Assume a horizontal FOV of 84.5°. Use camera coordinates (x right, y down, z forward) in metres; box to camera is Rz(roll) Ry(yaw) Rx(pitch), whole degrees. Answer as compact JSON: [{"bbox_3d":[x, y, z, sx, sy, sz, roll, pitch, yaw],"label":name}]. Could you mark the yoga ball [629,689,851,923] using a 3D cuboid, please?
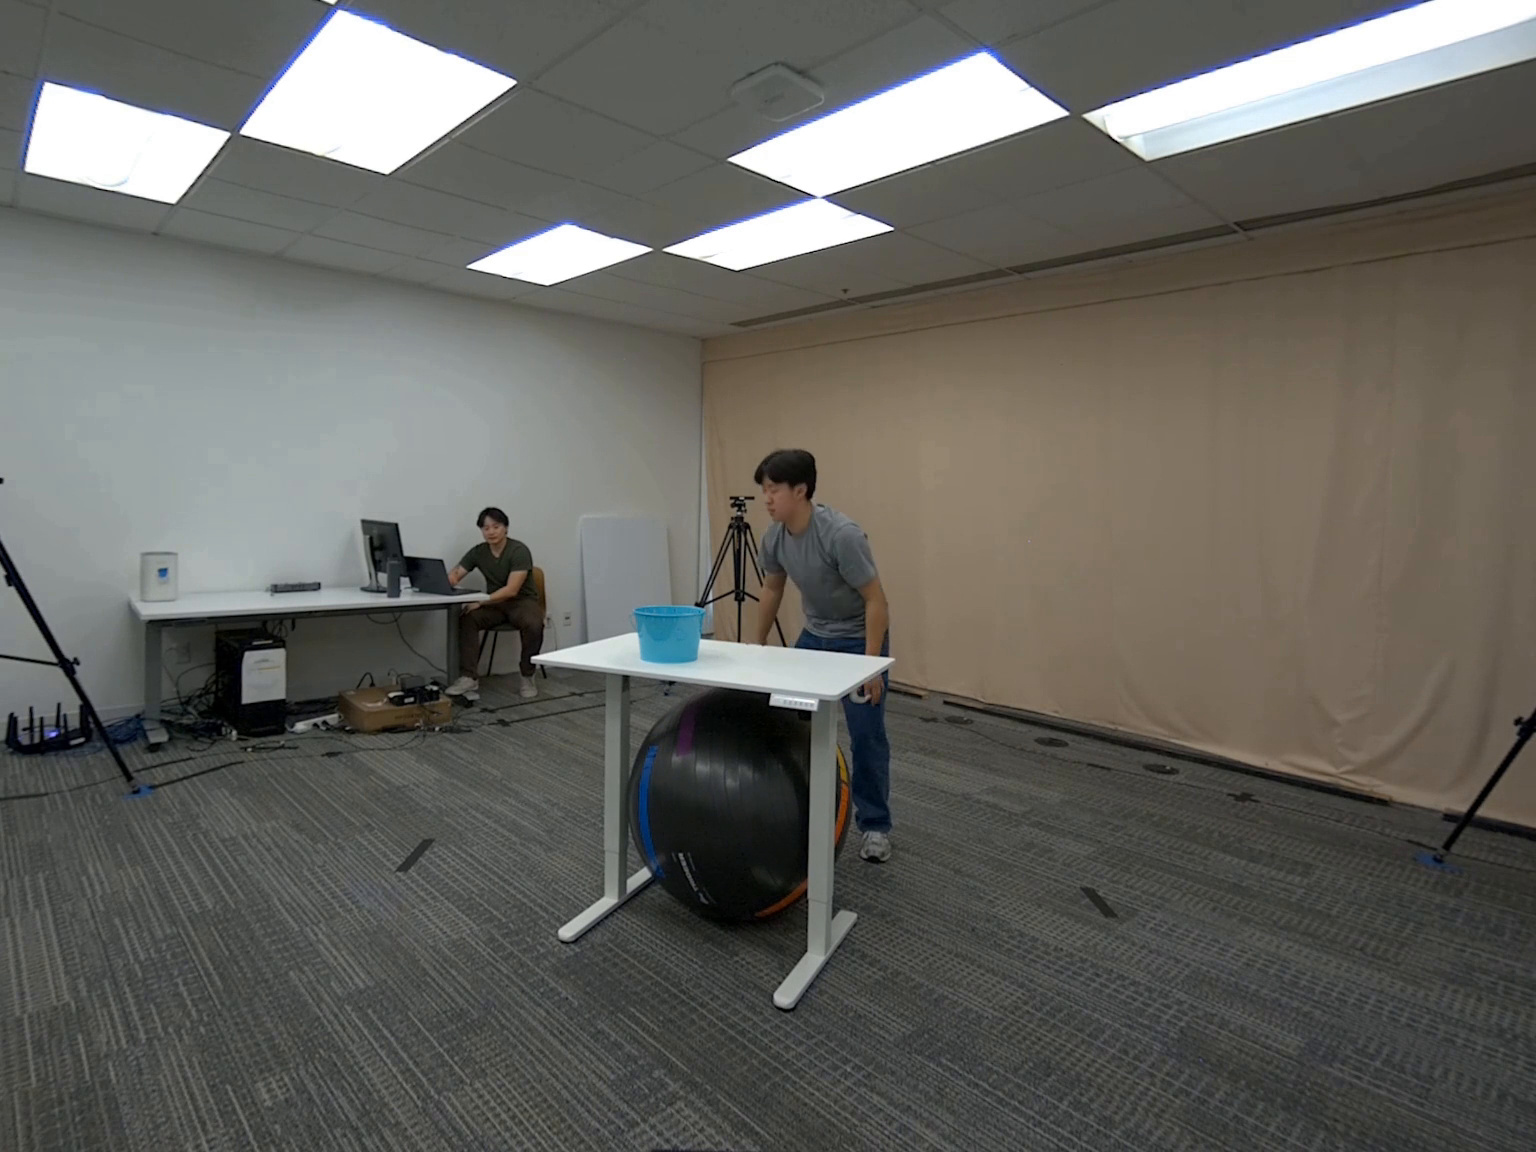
[{"bbox_3d":[-0.100,0.755,2.859,0.757,0.756,0.761,1,4,-1],"label":"yoga ball"}]
